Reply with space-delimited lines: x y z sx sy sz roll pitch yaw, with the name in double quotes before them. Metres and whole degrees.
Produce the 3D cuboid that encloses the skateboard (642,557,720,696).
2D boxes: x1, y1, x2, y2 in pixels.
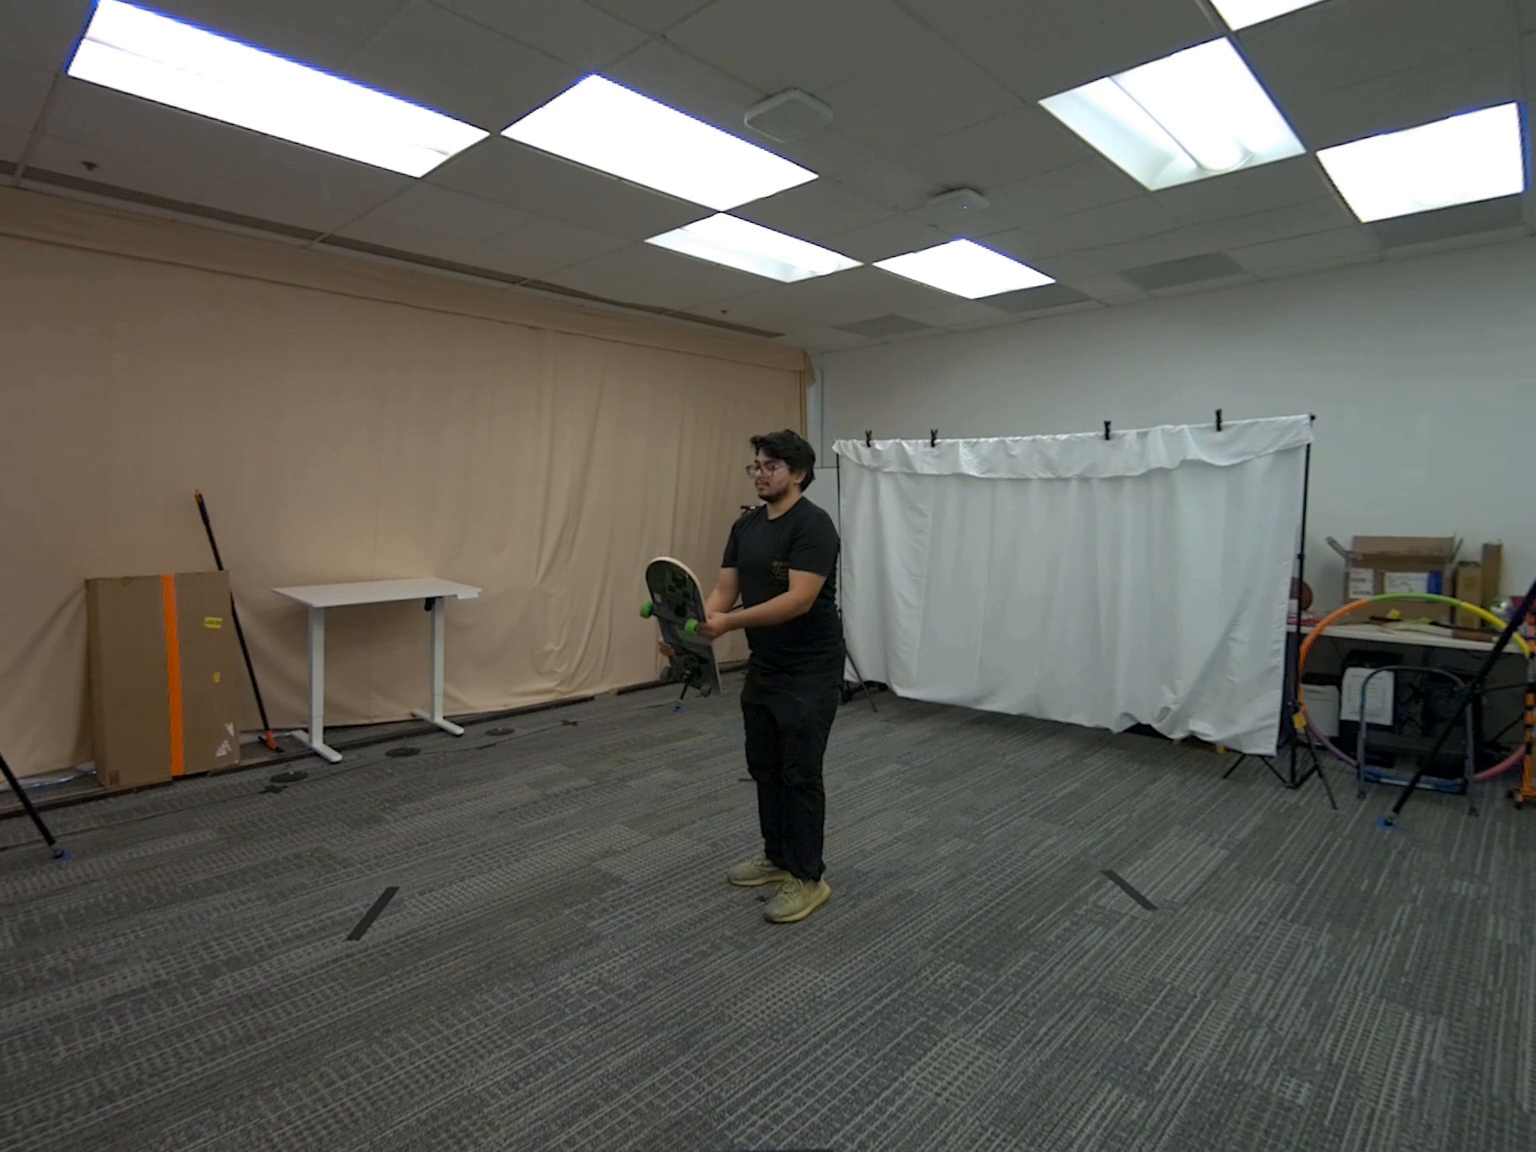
"skateboard" -0.276 0.224 2.689 0.198 0.110 0.768 20 -32 17
